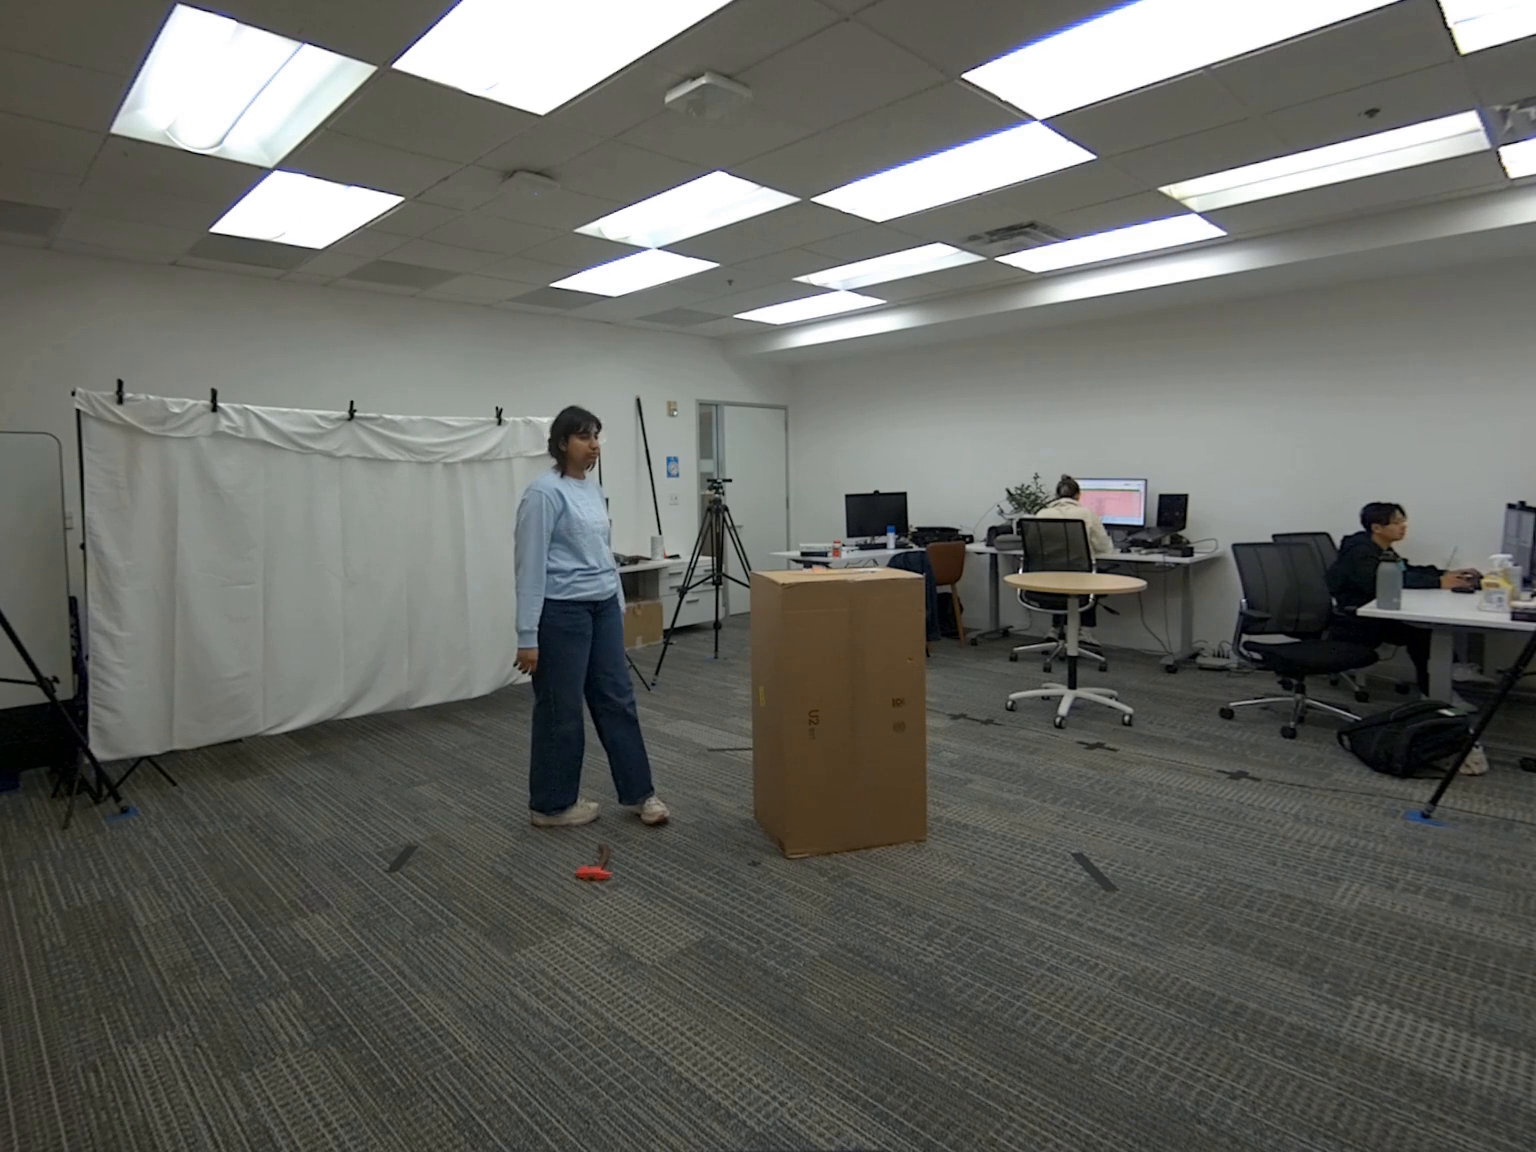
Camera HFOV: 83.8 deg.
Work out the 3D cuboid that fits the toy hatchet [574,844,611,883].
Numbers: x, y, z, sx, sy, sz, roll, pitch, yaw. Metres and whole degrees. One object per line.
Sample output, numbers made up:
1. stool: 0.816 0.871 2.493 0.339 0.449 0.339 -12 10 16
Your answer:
1. toy hatchet: -0.643 1.046 3.116 0.130 0.029 0.274 -4 5 -12
